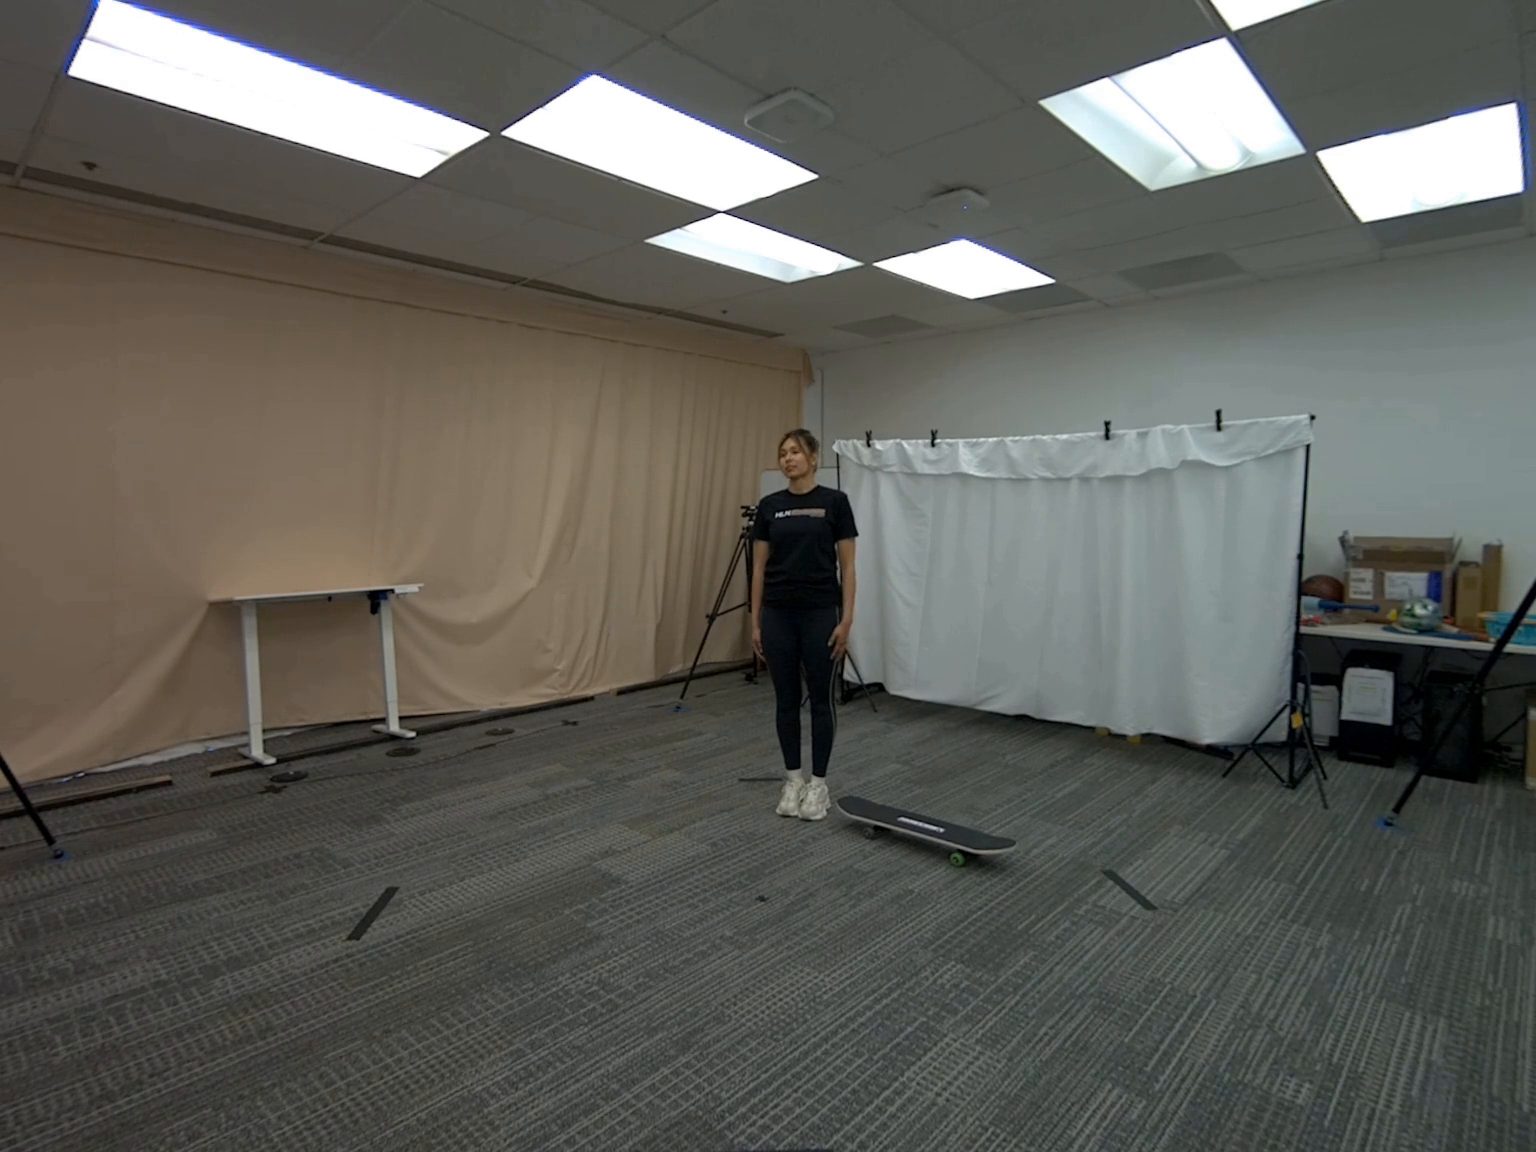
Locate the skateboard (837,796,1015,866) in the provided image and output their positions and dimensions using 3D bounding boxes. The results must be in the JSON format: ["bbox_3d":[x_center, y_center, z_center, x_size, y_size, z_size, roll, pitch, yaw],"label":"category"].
[{"bbox_3d":[0.633,1.046,3.440,0.811,0.110,0.187,4,6,41],"label":"skateboard"}]
